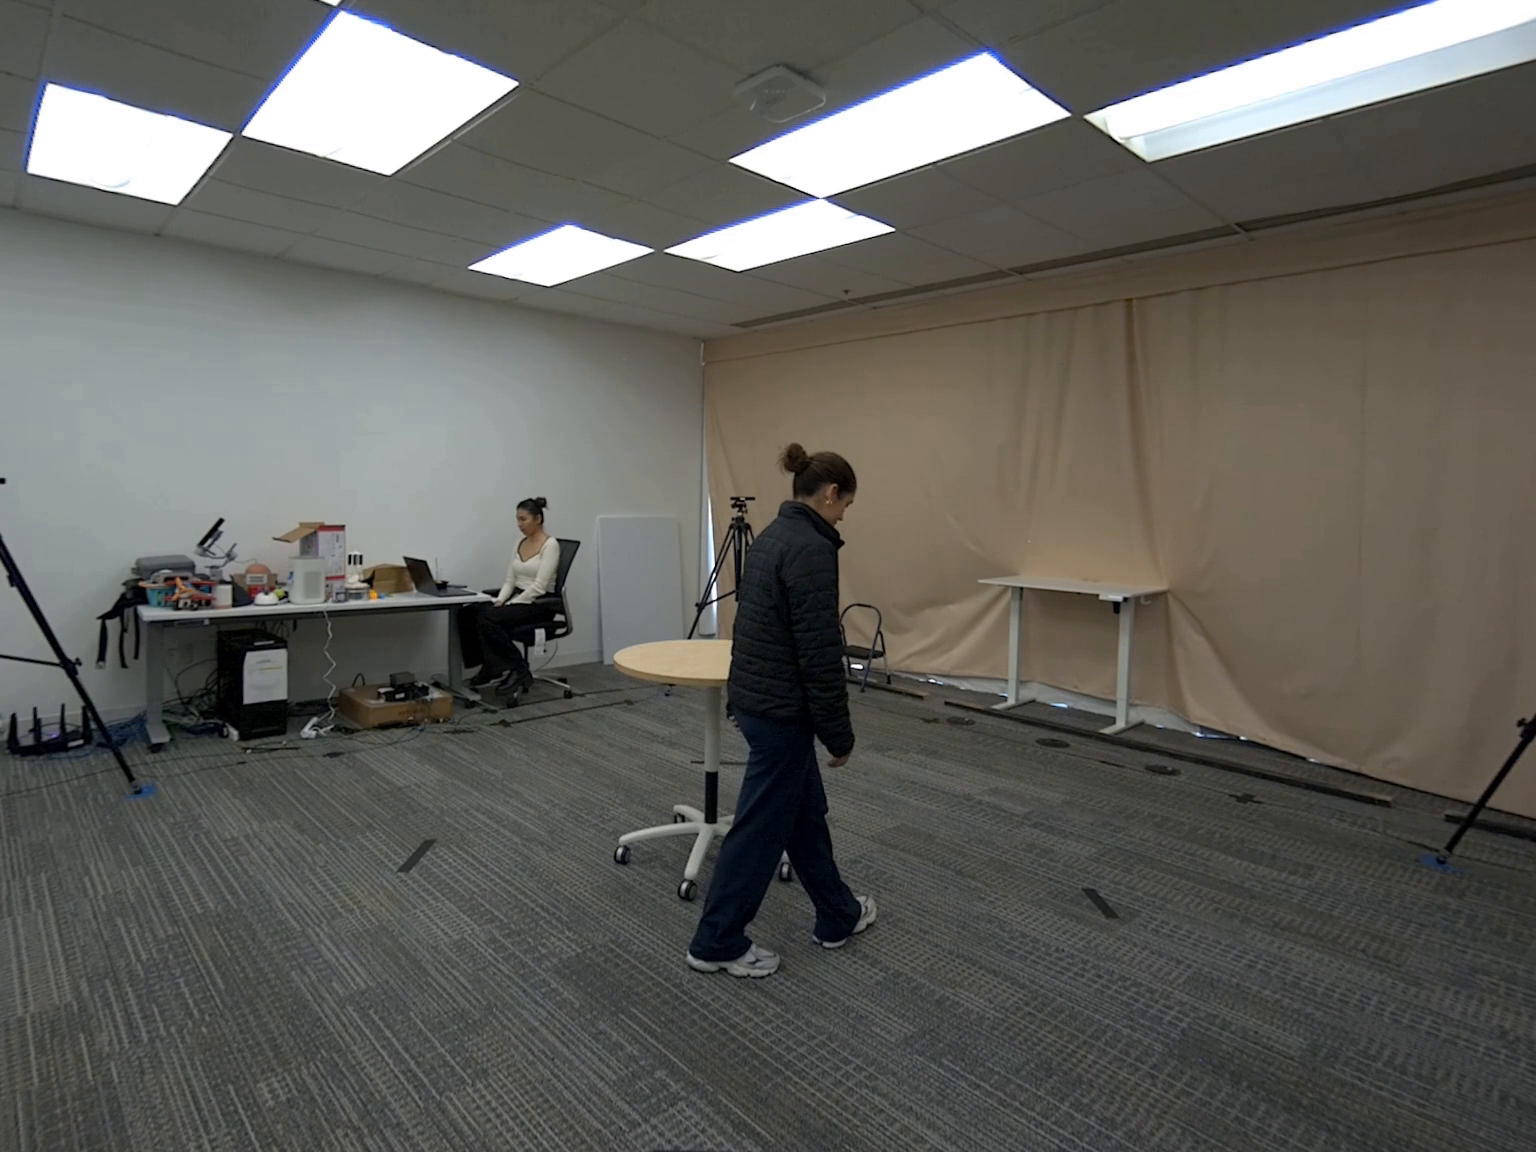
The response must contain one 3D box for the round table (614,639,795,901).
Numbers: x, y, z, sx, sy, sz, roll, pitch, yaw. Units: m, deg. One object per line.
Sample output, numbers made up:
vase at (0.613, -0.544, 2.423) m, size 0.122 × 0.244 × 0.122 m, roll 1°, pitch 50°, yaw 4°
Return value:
round table at (-0.205, 0.701, 3.226) m, size 0.784 × 0.784 × 0.788 m, roll 1°, pitch 5°, yaw -1°
